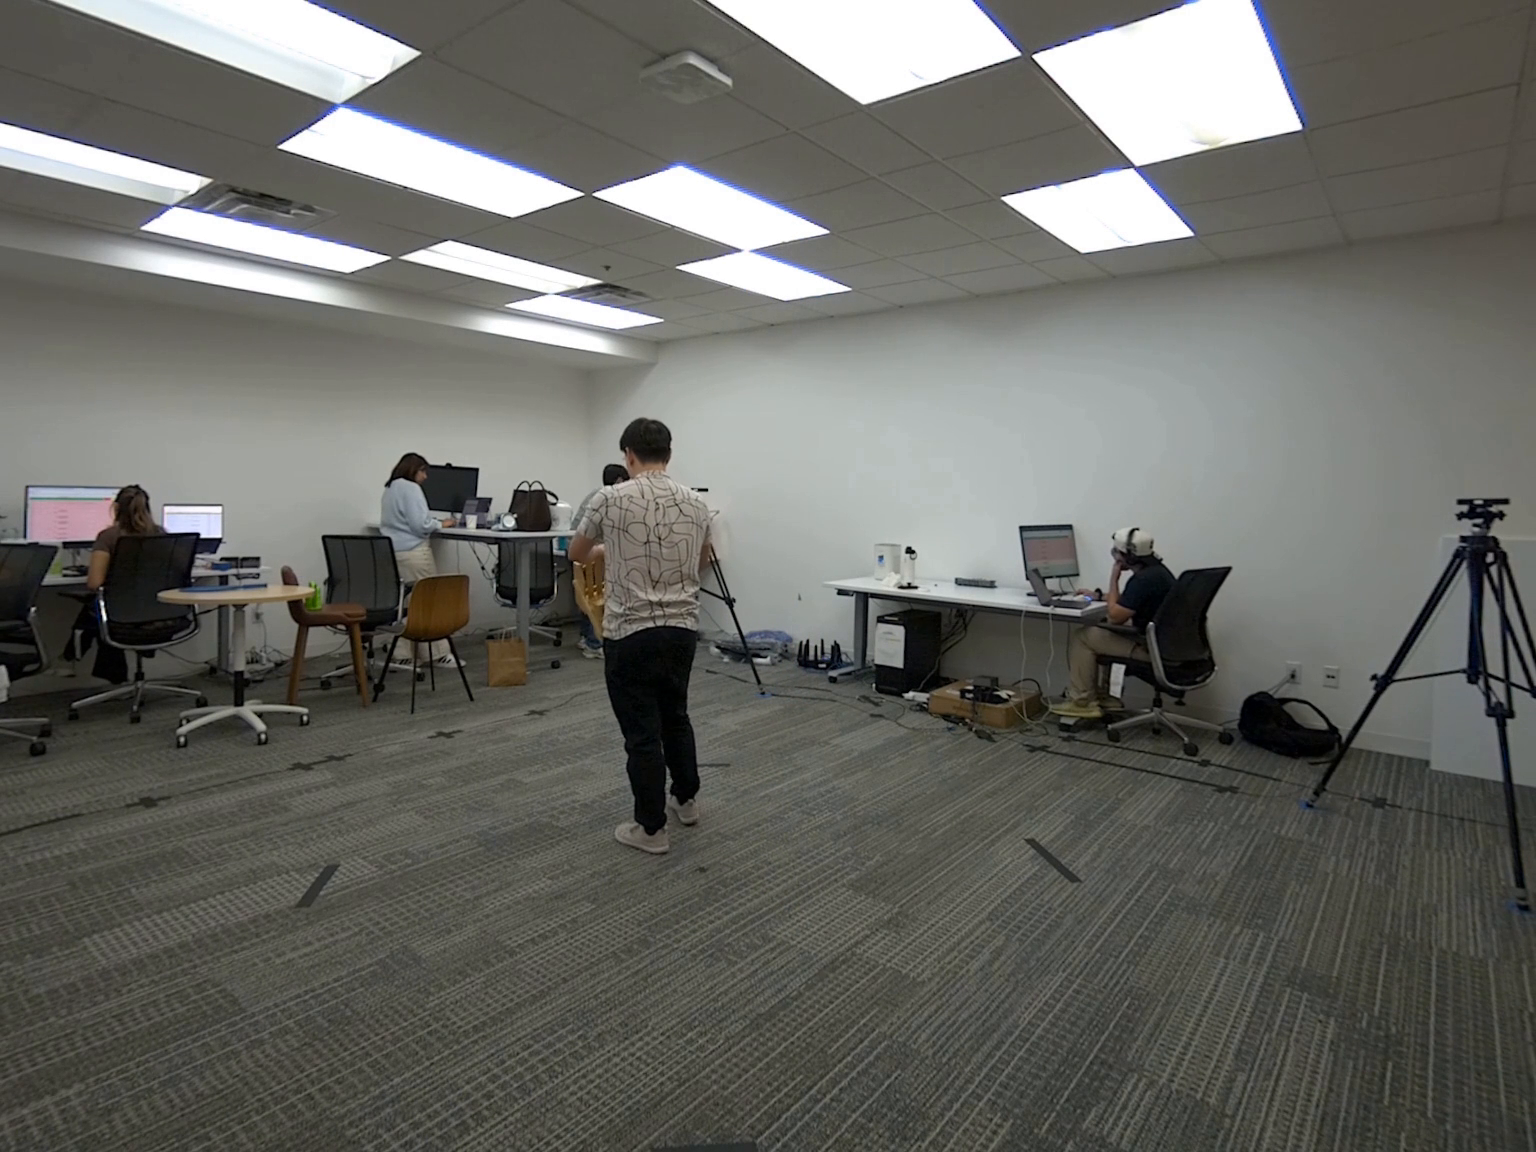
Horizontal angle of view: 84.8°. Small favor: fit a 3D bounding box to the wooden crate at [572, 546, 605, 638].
[{"bbox_3d":[-0.647,0.062,3.641,0.319,0.294,0.285,-21,49,-28],"label":"wooden crate"}]
